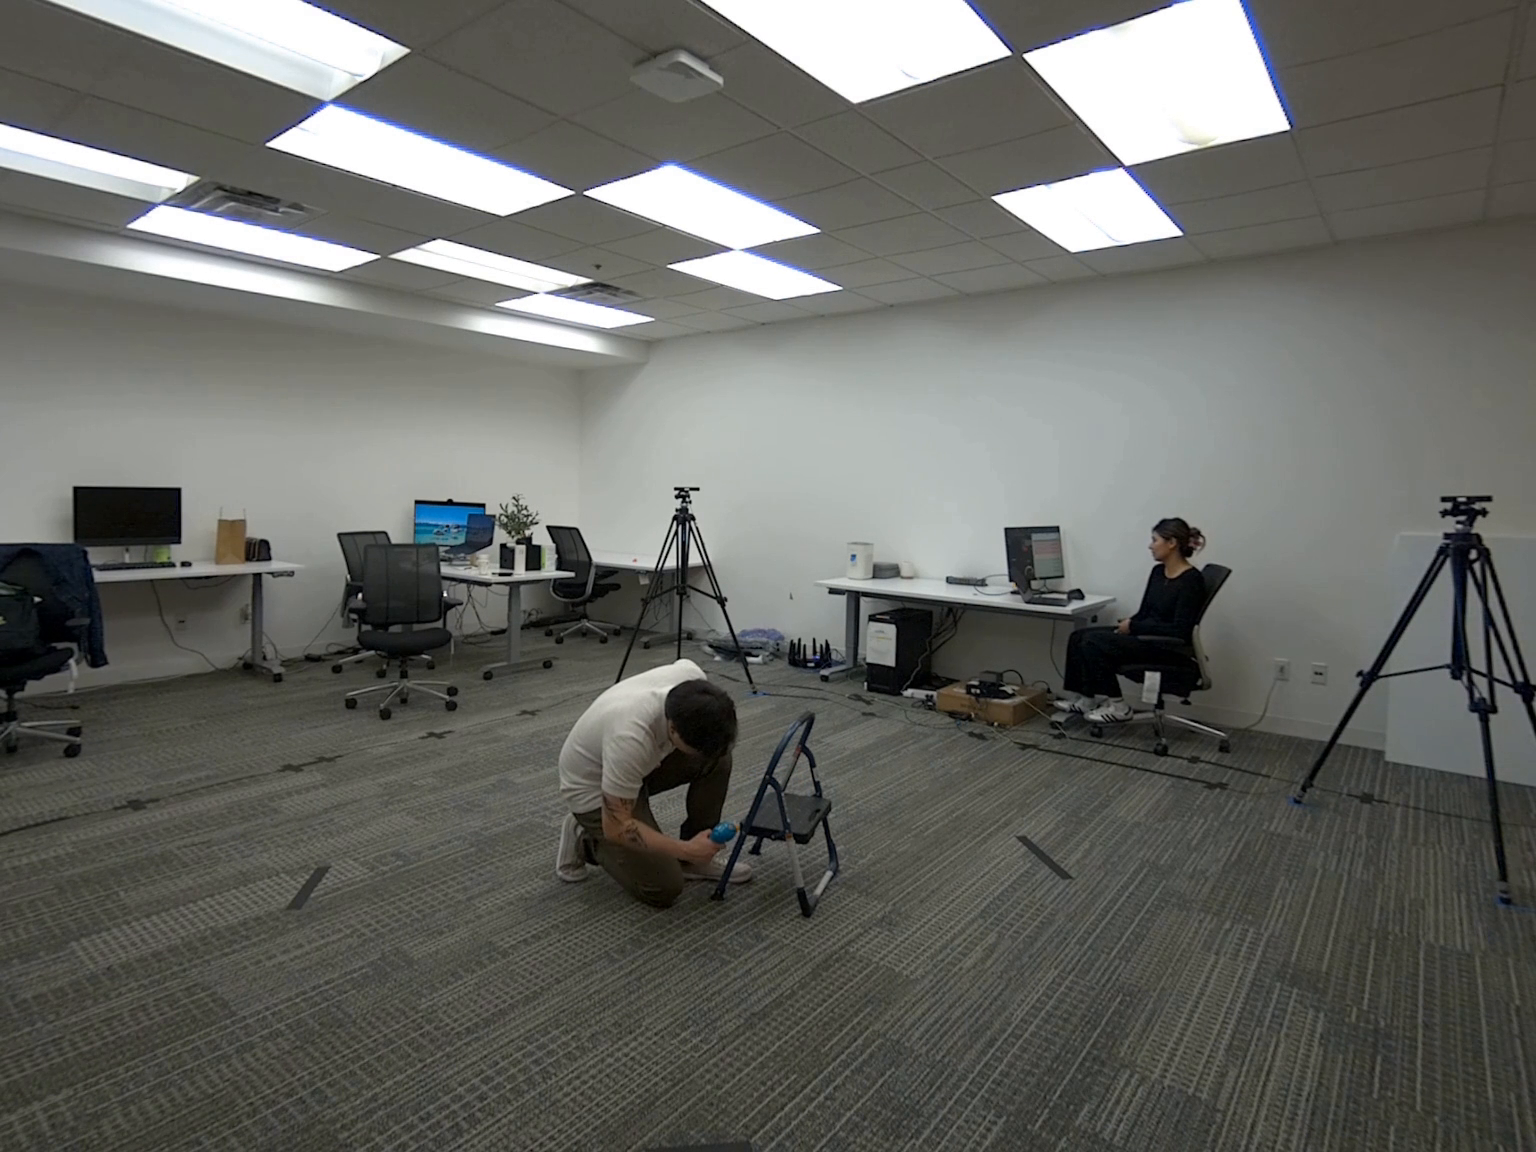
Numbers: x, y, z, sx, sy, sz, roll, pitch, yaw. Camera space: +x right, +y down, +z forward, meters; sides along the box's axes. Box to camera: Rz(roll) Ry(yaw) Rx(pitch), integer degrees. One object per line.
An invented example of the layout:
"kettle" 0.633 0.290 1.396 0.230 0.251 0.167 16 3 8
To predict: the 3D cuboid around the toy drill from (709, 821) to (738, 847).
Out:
"toy drill" -0.174 0.831 2.706 0.147 0.062 0.165 -31 -17 16
